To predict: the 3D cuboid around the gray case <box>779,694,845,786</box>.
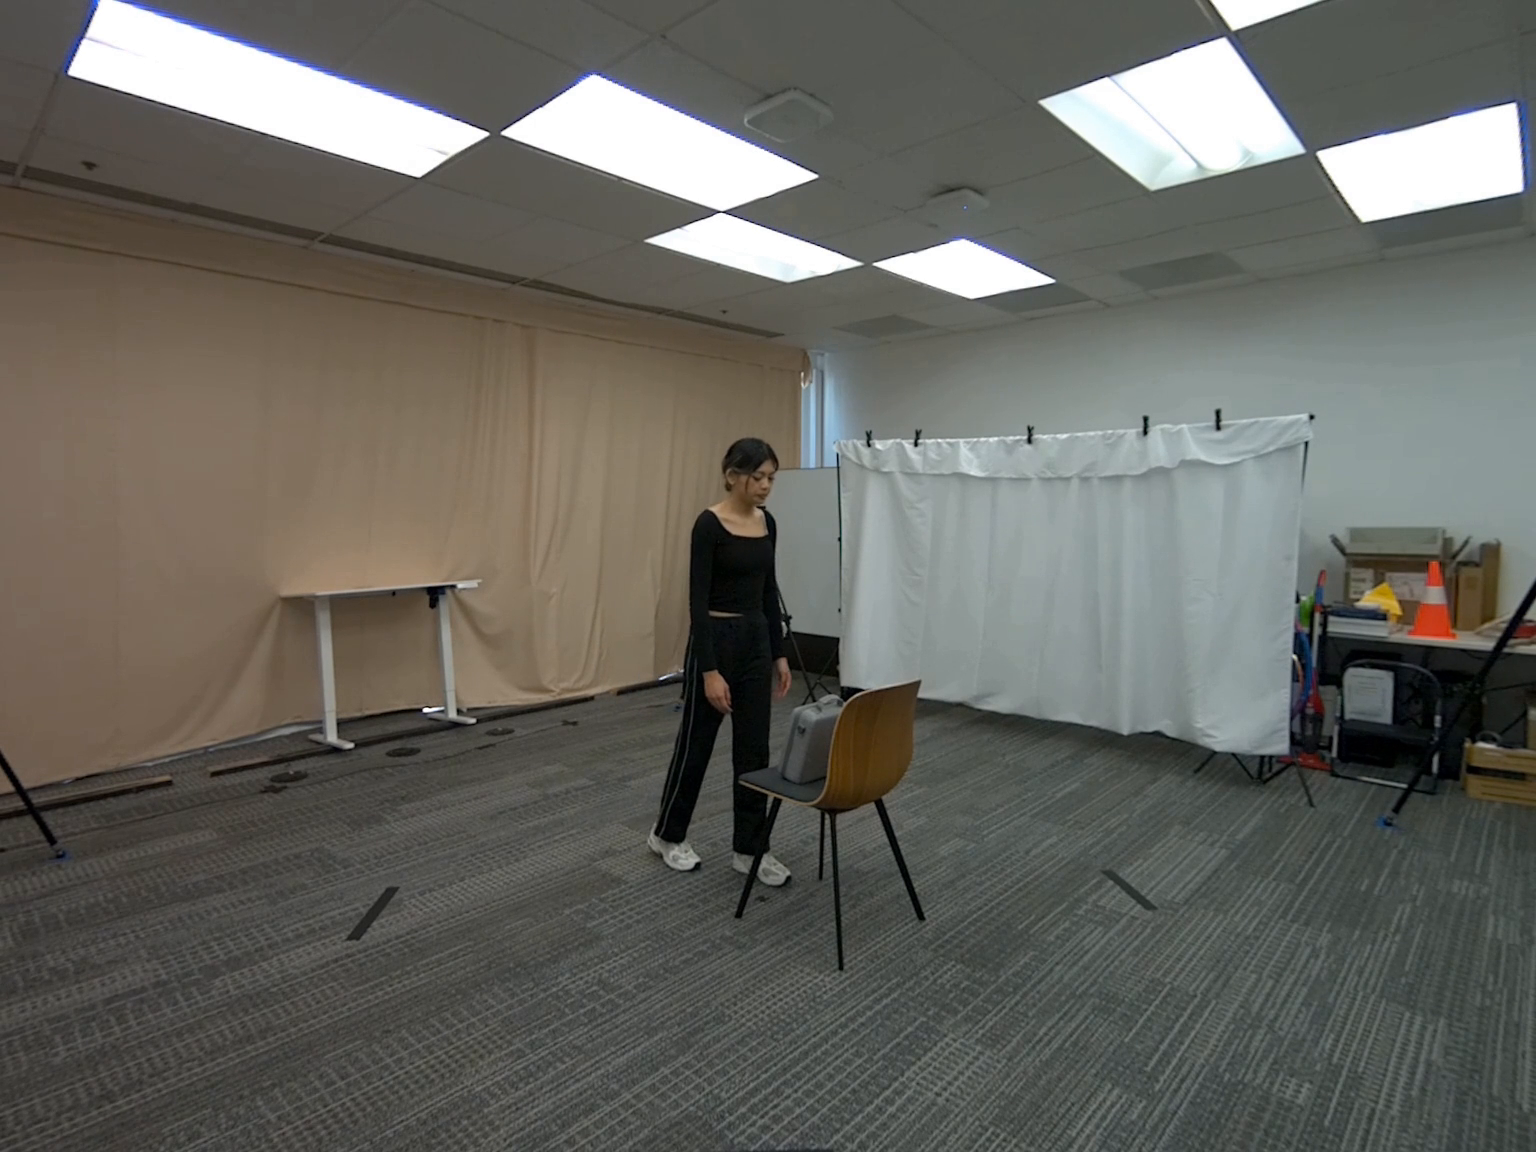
[{"bbox_3d":[0.173,0.545,2.817,0.108,0.259,0.249,23,18,41],"label":"gray case"}]
